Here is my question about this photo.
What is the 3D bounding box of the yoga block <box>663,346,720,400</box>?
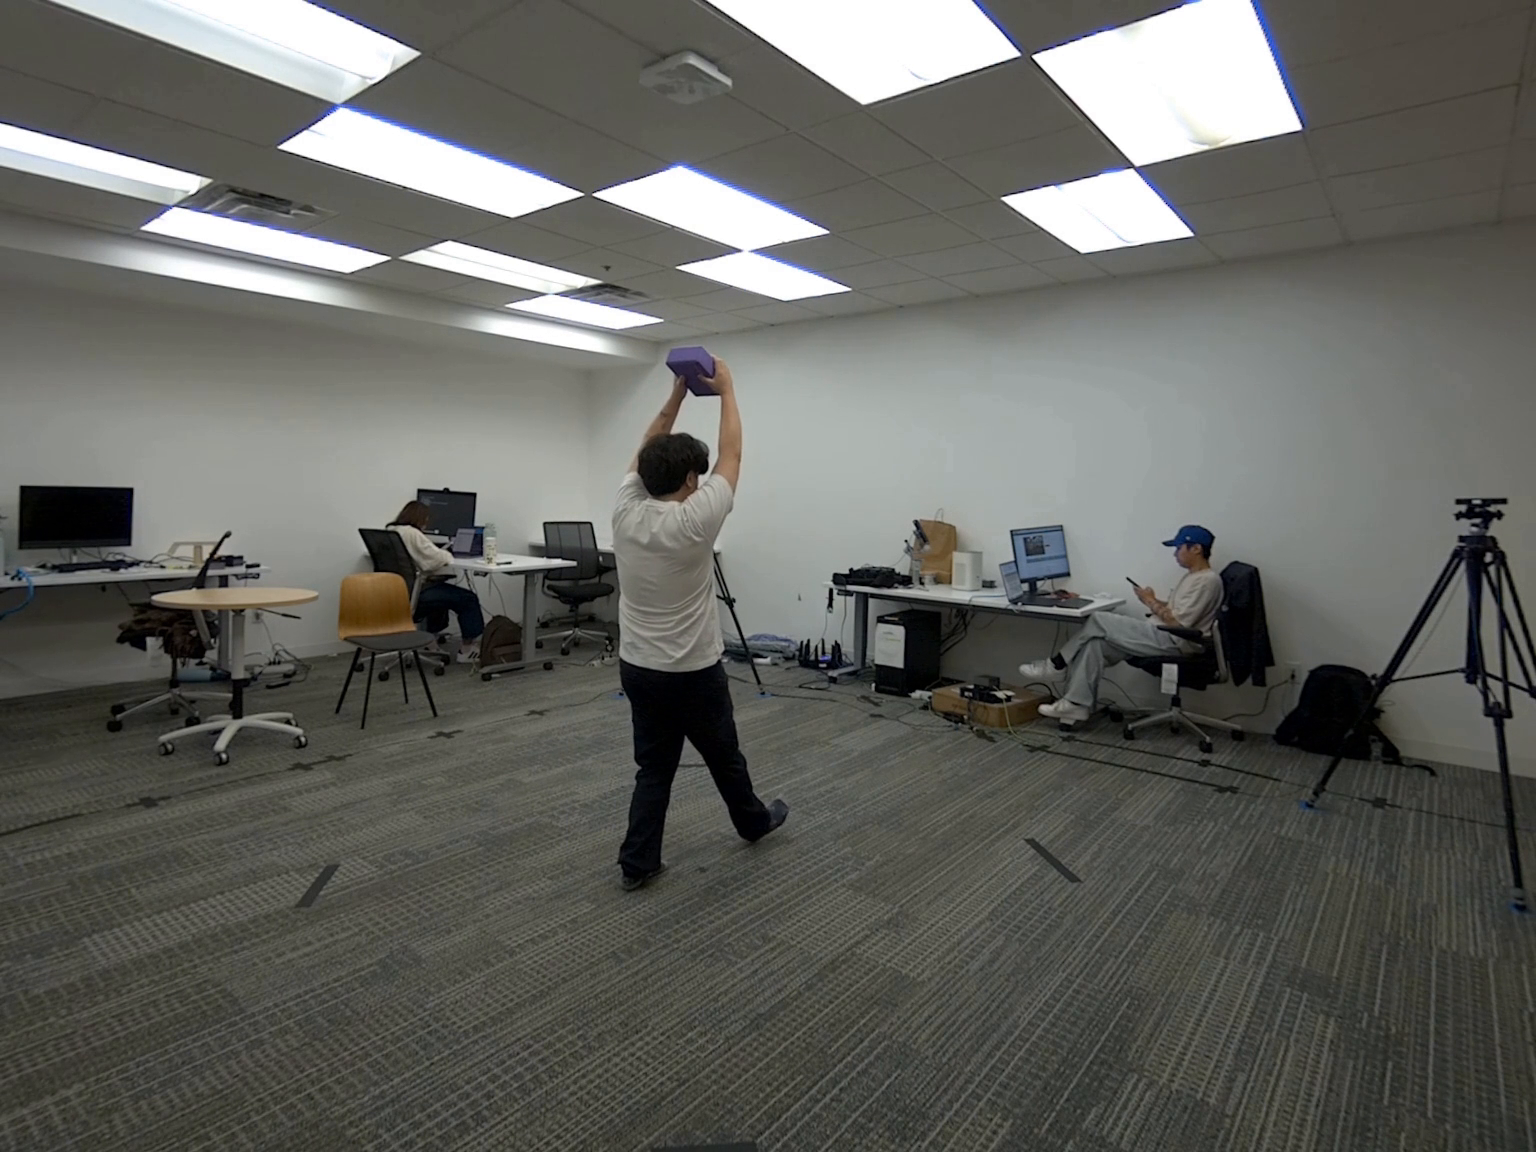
[{"bbox_3d":[-0.263,-0.758,3.145,0.153,0.077,0.220,5,-20,31],"label":"yoga block"}]
